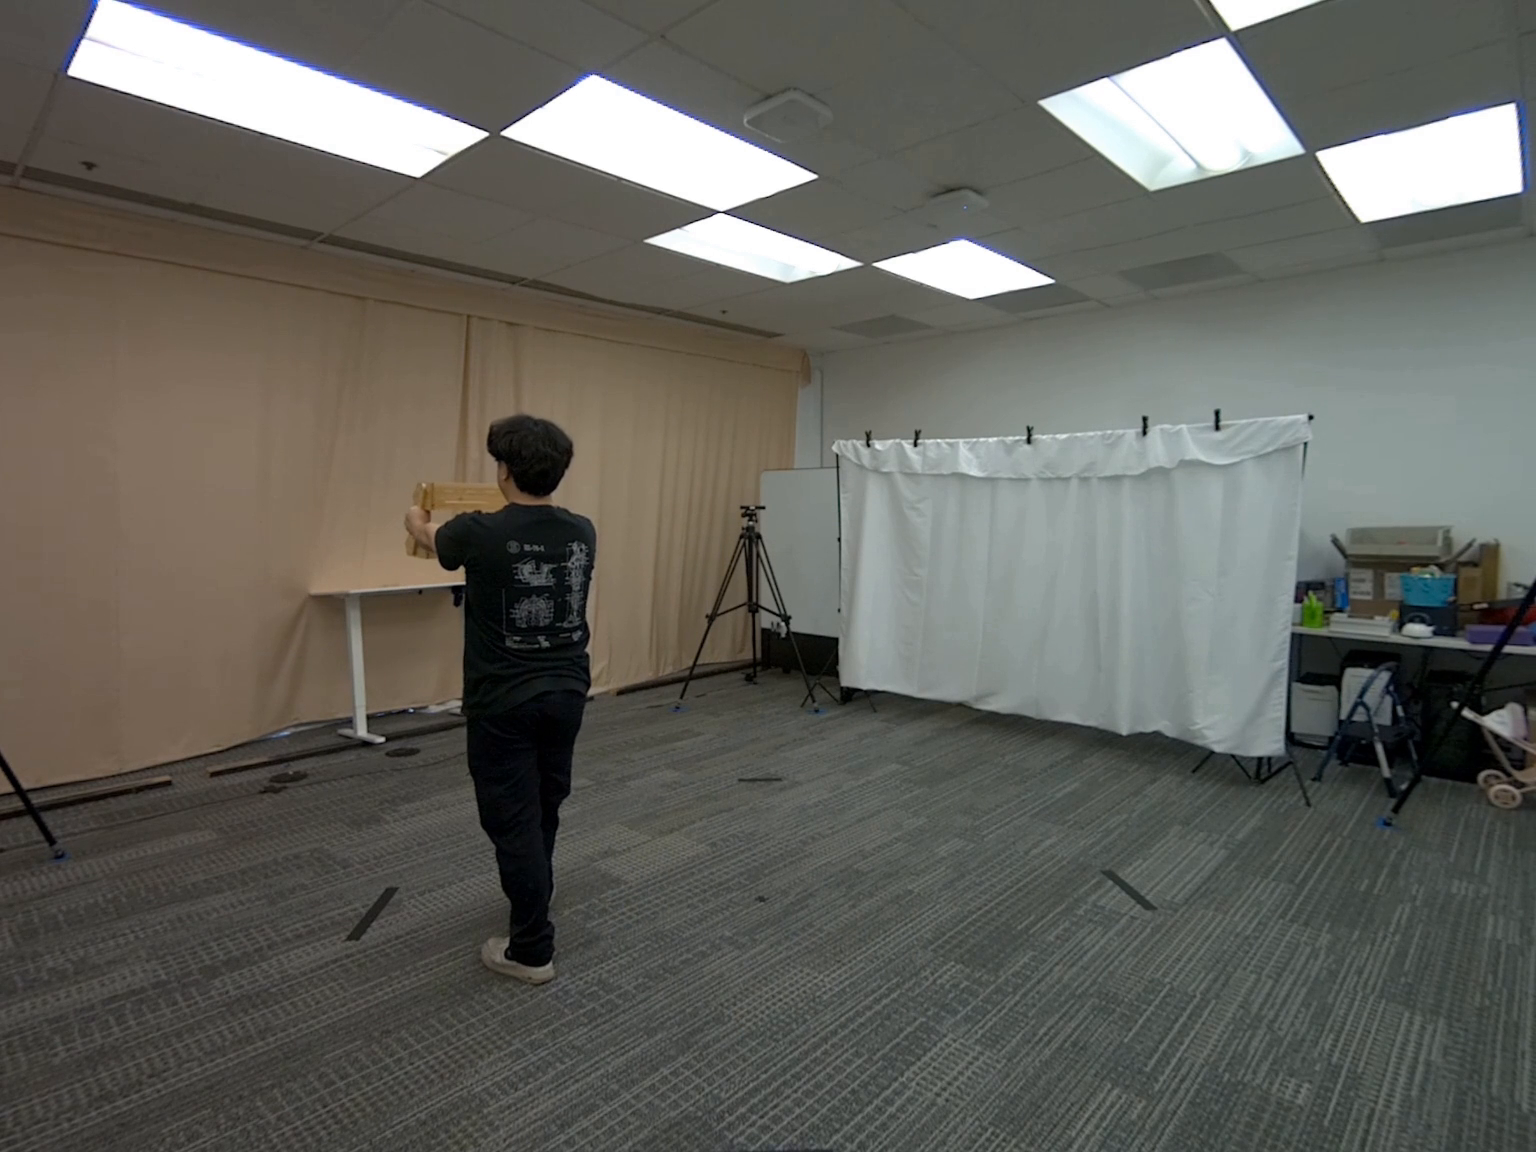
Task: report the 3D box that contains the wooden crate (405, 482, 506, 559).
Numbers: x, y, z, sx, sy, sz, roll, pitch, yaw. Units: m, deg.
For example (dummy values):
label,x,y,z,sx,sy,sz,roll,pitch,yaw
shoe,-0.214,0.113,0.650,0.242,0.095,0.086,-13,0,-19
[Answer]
label,x,y,z,sx,sy,sz,roll,pitch,yaw
wooden crate,-1.107,-0.205,3.014,0.315,0.272,0.312,-2,6,-38
